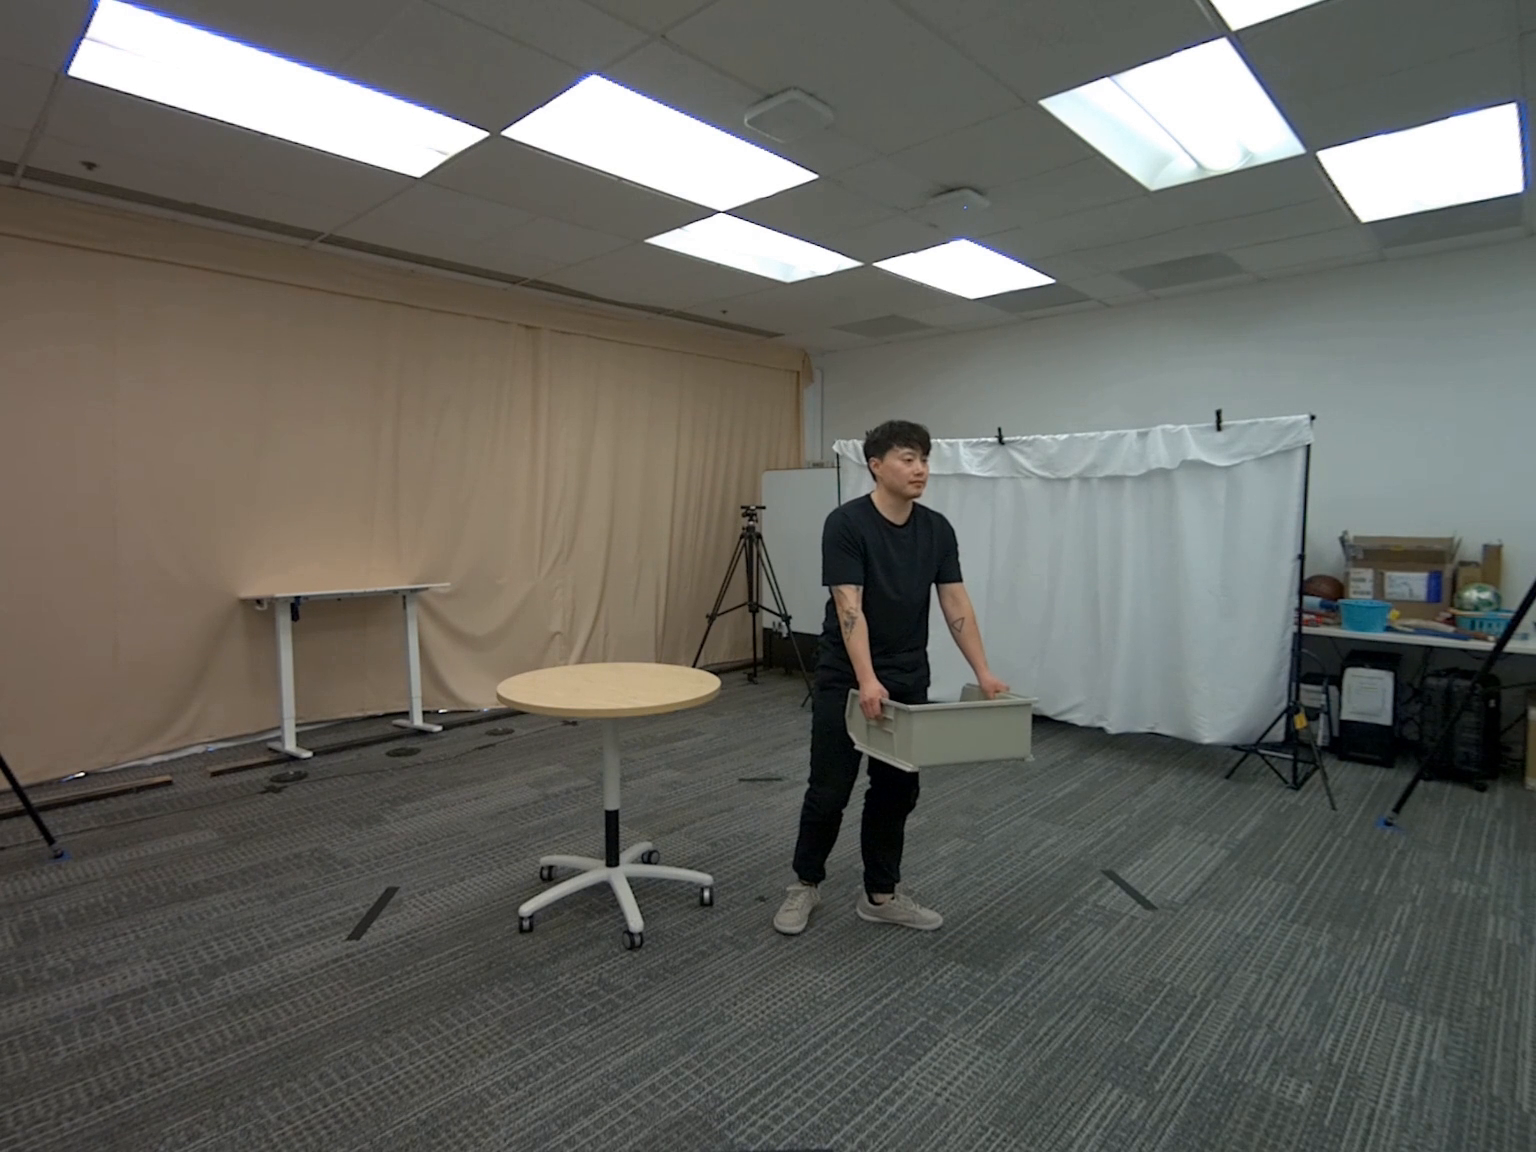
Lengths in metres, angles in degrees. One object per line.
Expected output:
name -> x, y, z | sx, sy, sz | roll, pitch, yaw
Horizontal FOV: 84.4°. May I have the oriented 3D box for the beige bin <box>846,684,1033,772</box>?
beige bin -> 0.500, 0.436, 2.501 | 0.414, 0.189, 0.385 | 1, 2, -21
